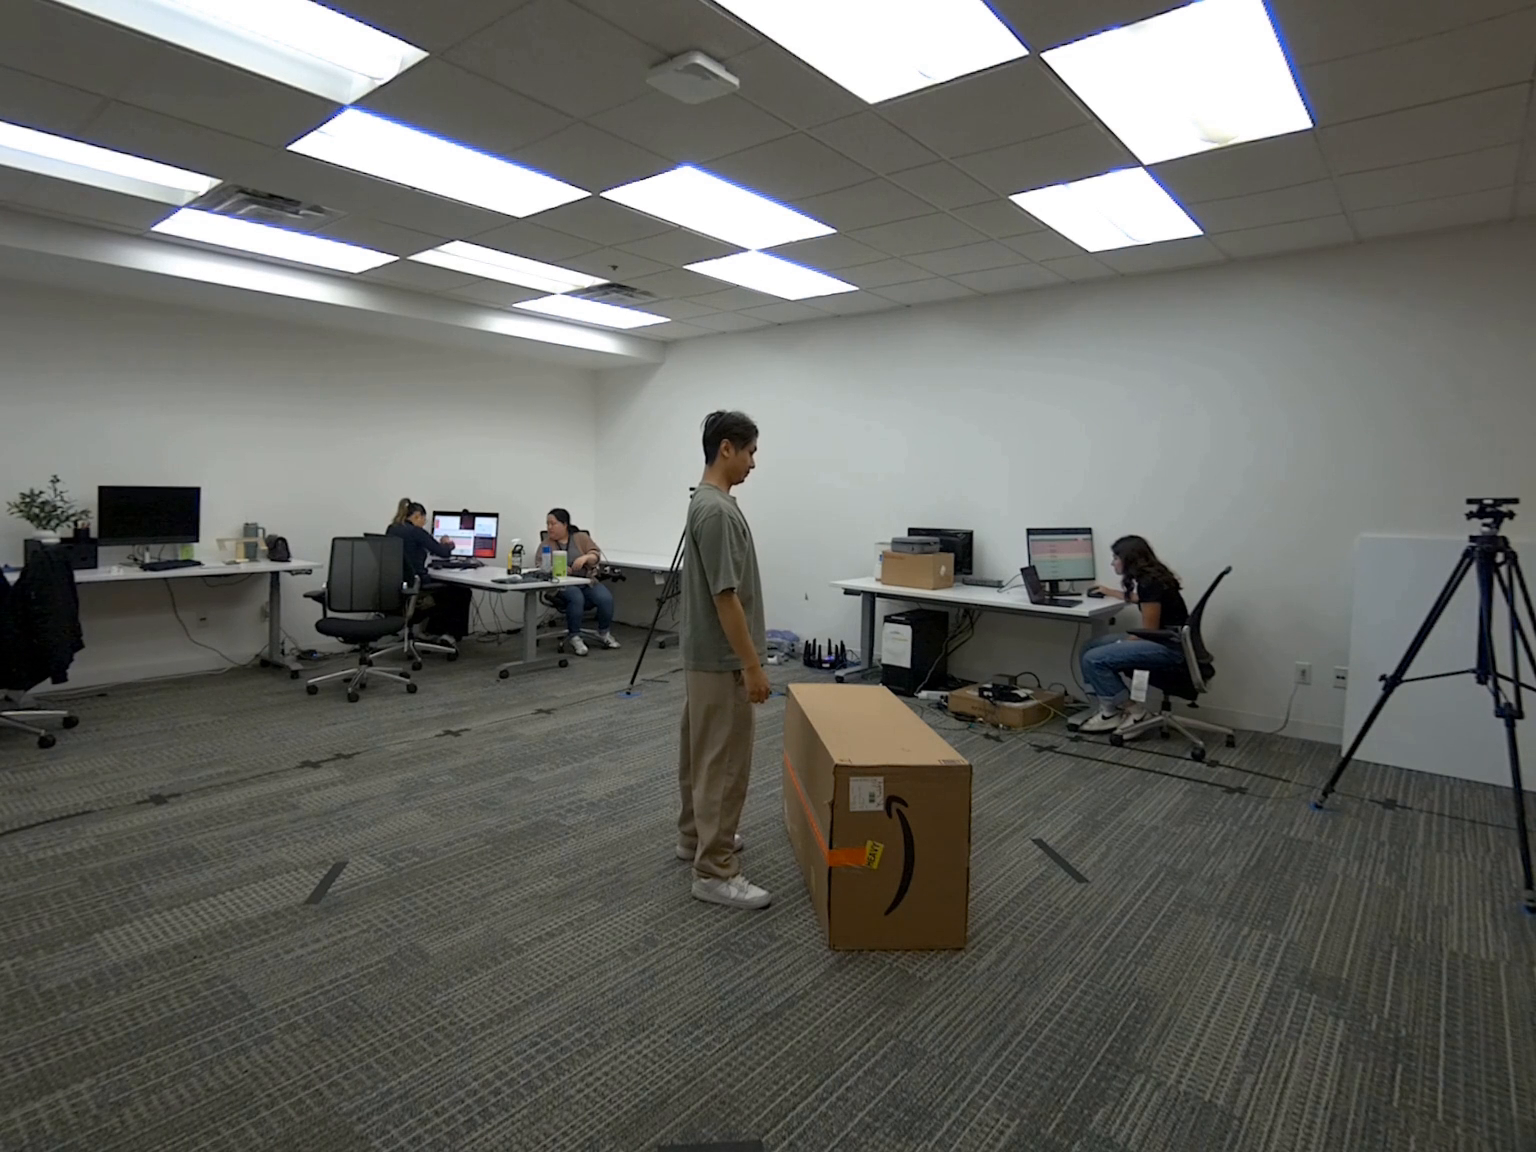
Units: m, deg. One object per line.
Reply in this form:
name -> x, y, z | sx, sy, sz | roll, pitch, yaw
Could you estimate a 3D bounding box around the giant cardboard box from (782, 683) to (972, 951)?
giant cardboard box -> 0.333, 0.787, 3.071 | 0.423, 0.575, 1.037 | 0, 5, -7
